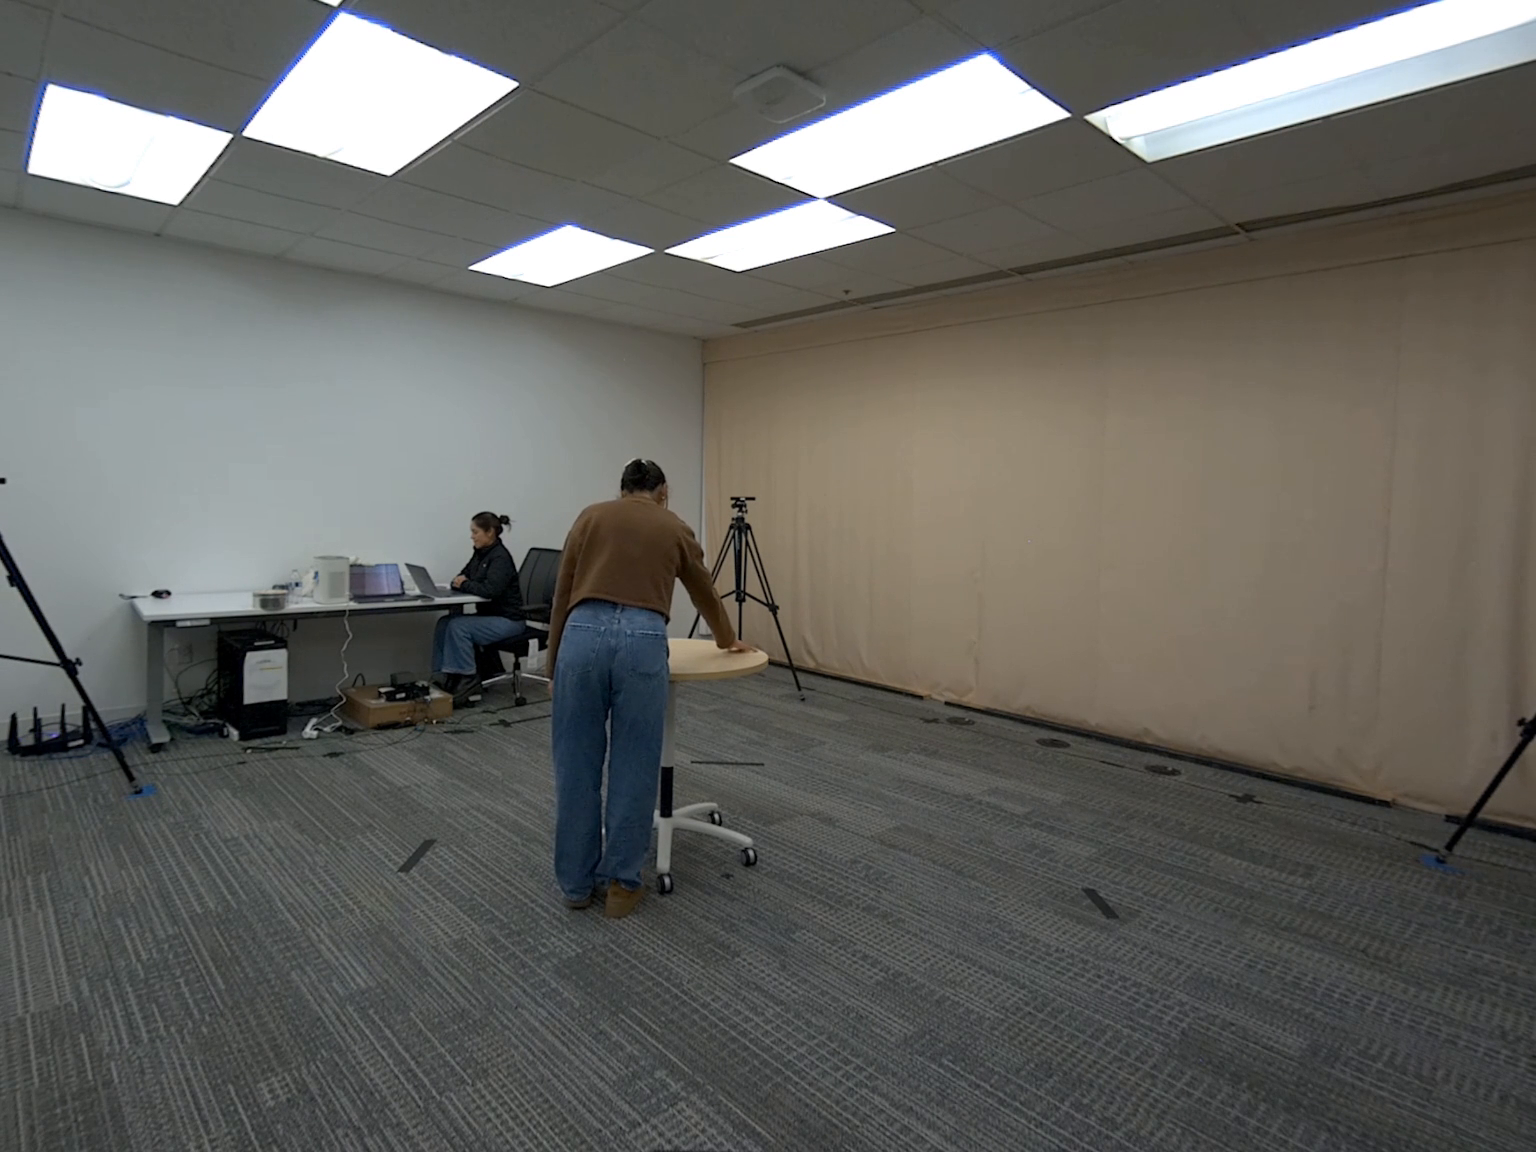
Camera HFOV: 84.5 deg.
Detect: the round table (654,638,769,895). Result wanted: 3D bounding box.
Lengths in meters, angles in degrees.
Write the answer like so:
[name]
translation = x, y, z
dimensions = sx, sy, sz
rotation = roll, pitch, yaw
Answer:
[round table]
translation = -0.399, 0.697, 3.296
dimensions = 0.763, 0.792, 0.766
rotation = 1, 3, -1
